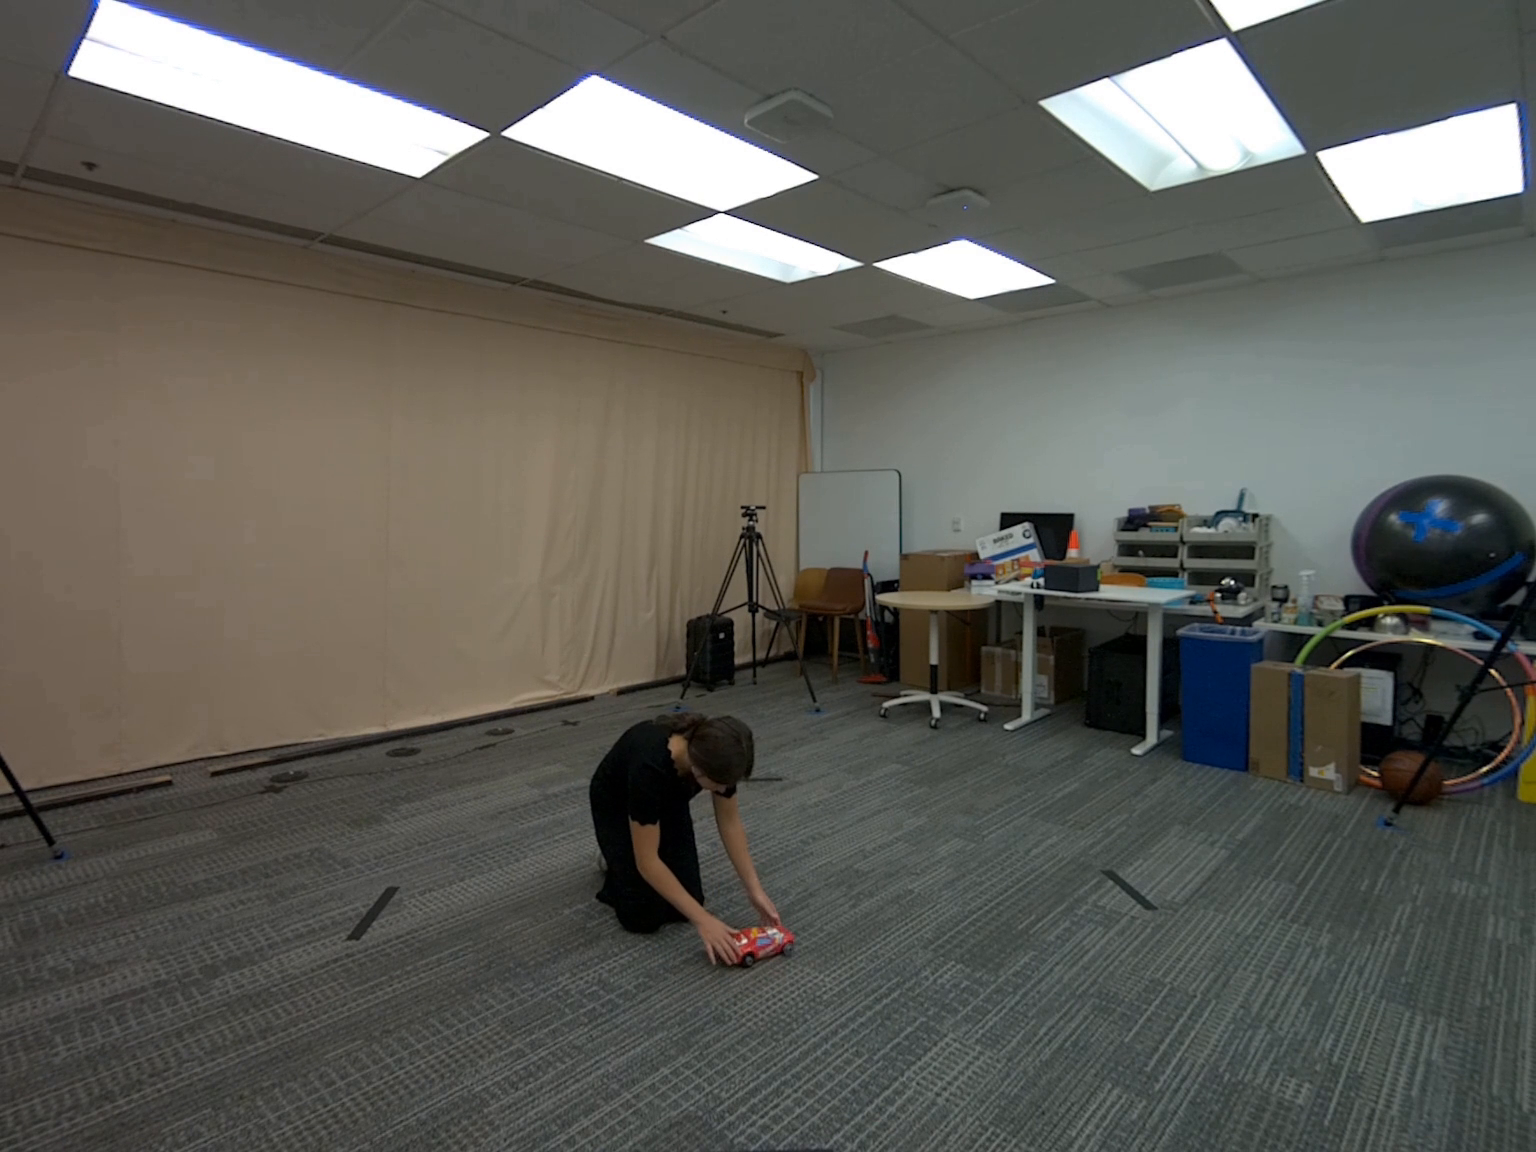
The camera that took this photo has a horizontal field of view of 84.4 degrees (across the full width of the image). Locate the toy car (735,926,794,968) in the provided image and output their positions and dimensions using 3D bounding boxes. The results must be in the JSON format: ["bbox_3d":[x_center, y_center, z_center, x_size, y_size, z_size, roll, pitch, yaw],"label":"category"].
[{"bbox_3d":[-0.040,1.148,2.600,0.247,0.083,0.134,10,-2,-29],"label":"toy car"}]
